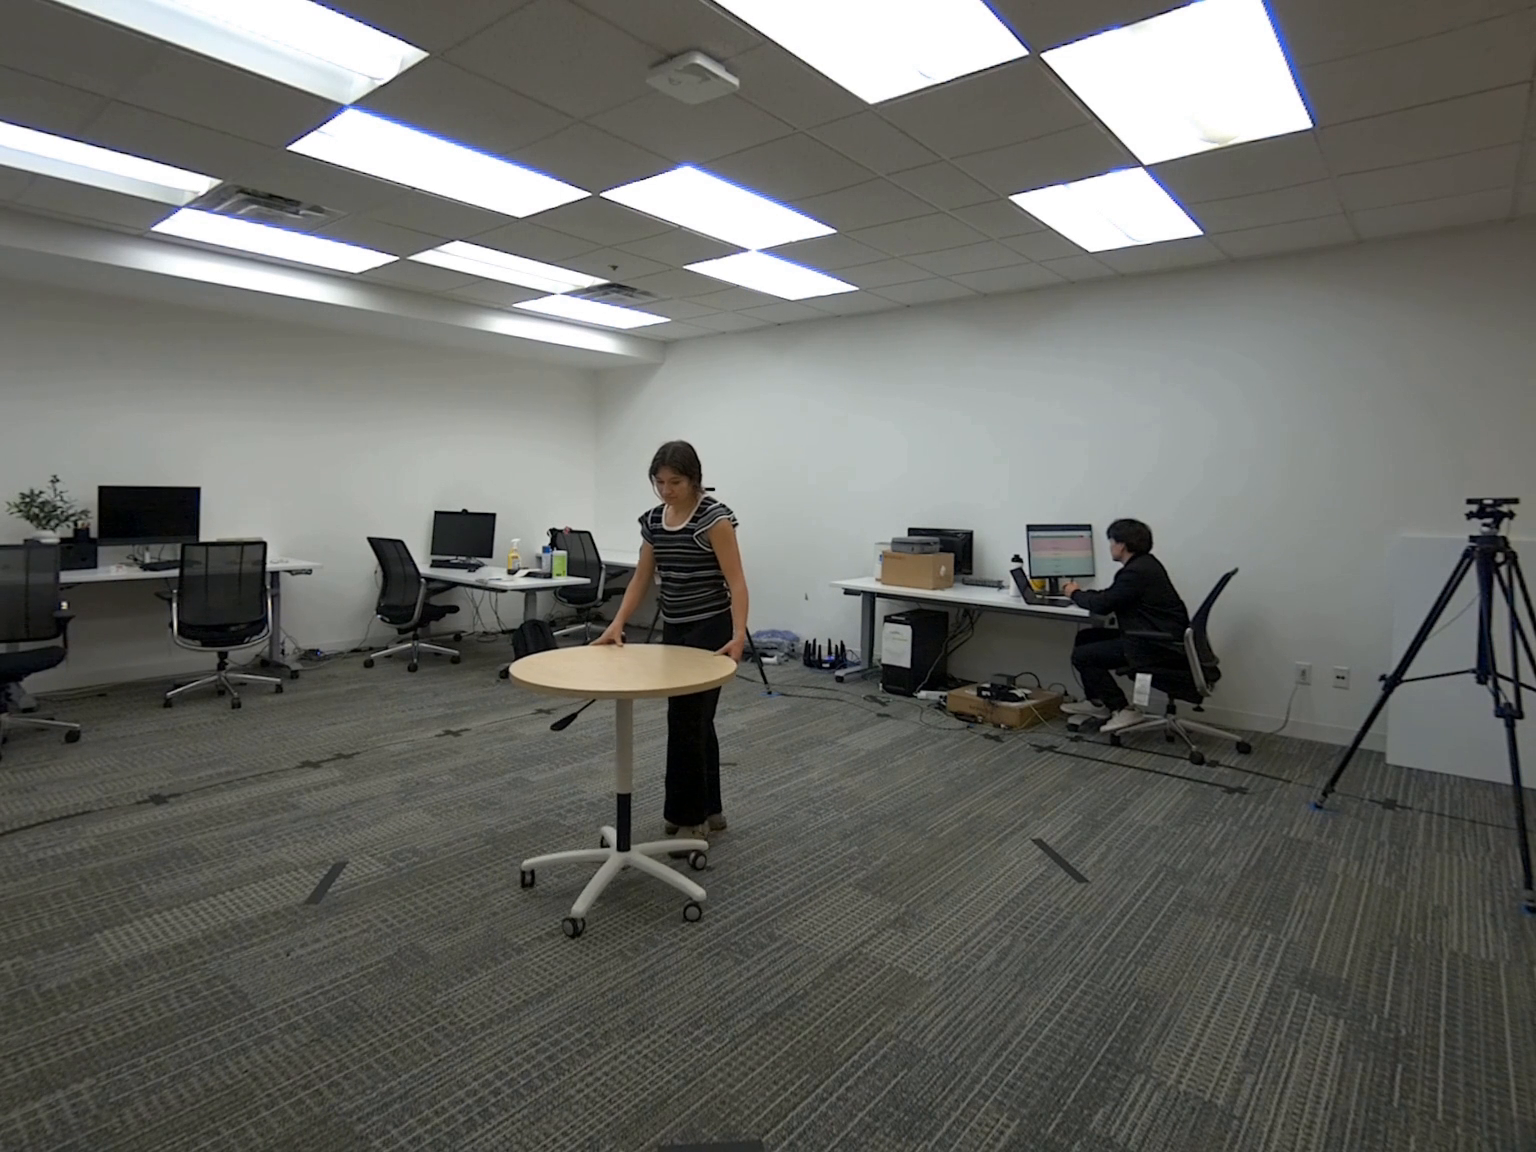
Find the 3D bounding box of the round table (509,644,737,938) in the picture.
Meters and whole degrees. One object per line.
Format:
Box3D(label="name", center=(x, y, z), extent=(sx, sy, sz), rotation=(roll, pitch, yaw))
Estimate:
Box3D(label="round table", center=(-0.516, 0.686, 2.901), extent=(0.784, 0.784, 0.789), rotation=(0, 4, -2))
